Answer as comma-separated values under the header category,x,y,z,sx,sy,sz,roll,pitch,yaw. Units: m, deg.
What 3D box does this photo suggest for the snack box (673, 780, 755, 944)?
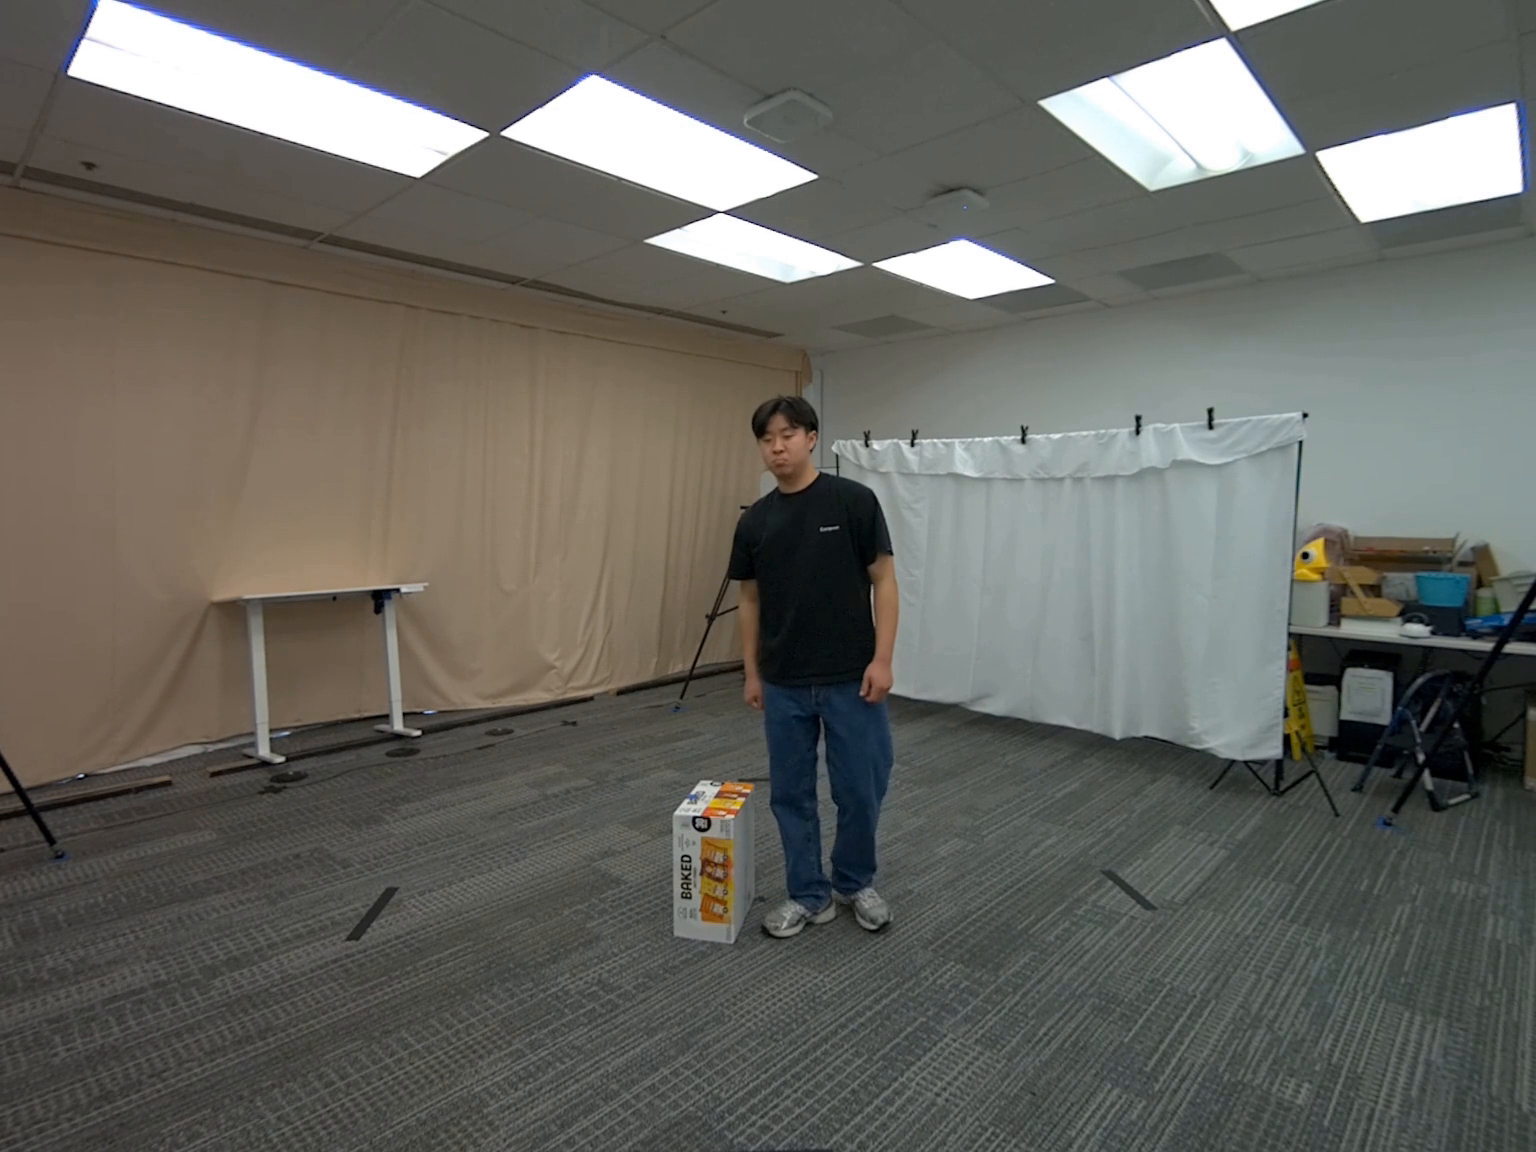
category,x,y,z,sx,sy,sz,roll,pitch,yaw
snack box,-0.168,0.951,2.851,0.208,0.404,0.336,0,3,12
